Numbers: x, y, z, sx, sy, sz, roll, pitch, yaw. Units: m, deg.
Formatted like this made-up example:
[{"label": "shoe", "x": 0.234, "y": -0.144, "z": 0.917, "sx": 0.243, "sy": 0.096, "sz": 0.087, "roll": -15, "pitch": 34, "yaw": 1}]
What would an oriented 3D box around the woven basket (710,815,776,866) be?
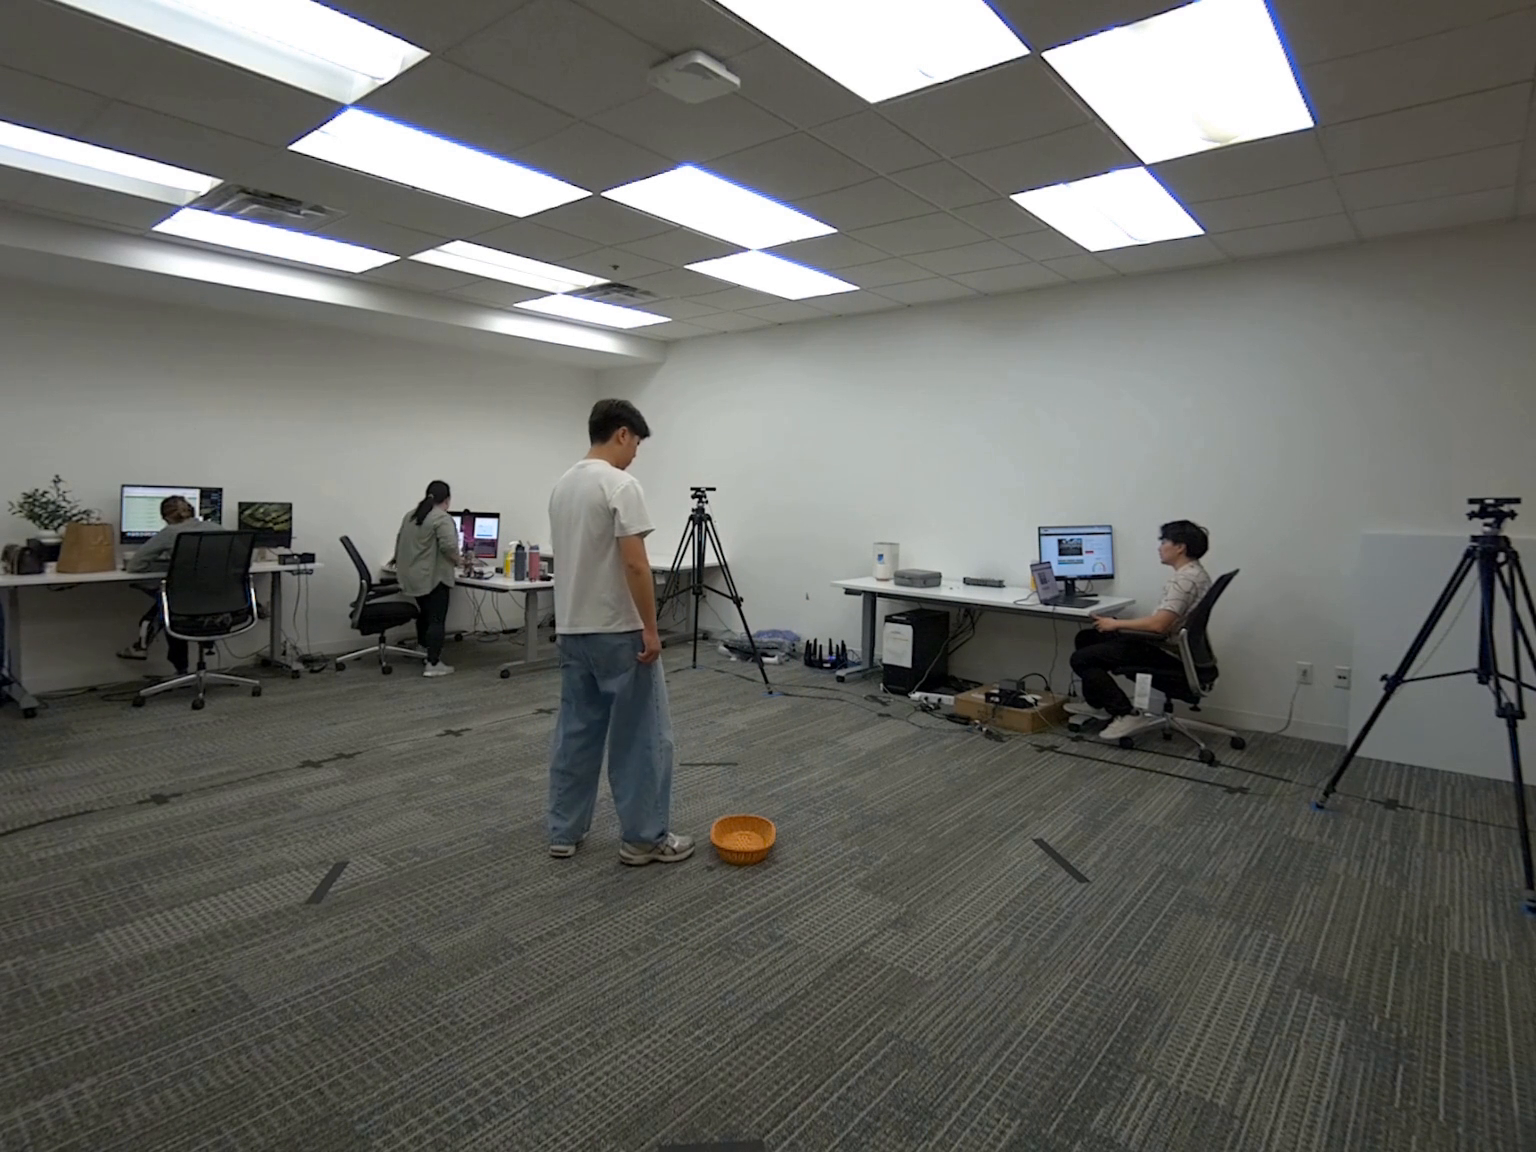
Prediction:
[{"label": "woven basket", "x": -0.108, "y": 1.018, "z": 3.280, "sx": 0.254, "sy": 0.073, "sz": 0.350, "roll": 1, "pitch": 6, "yaw": 5}]
